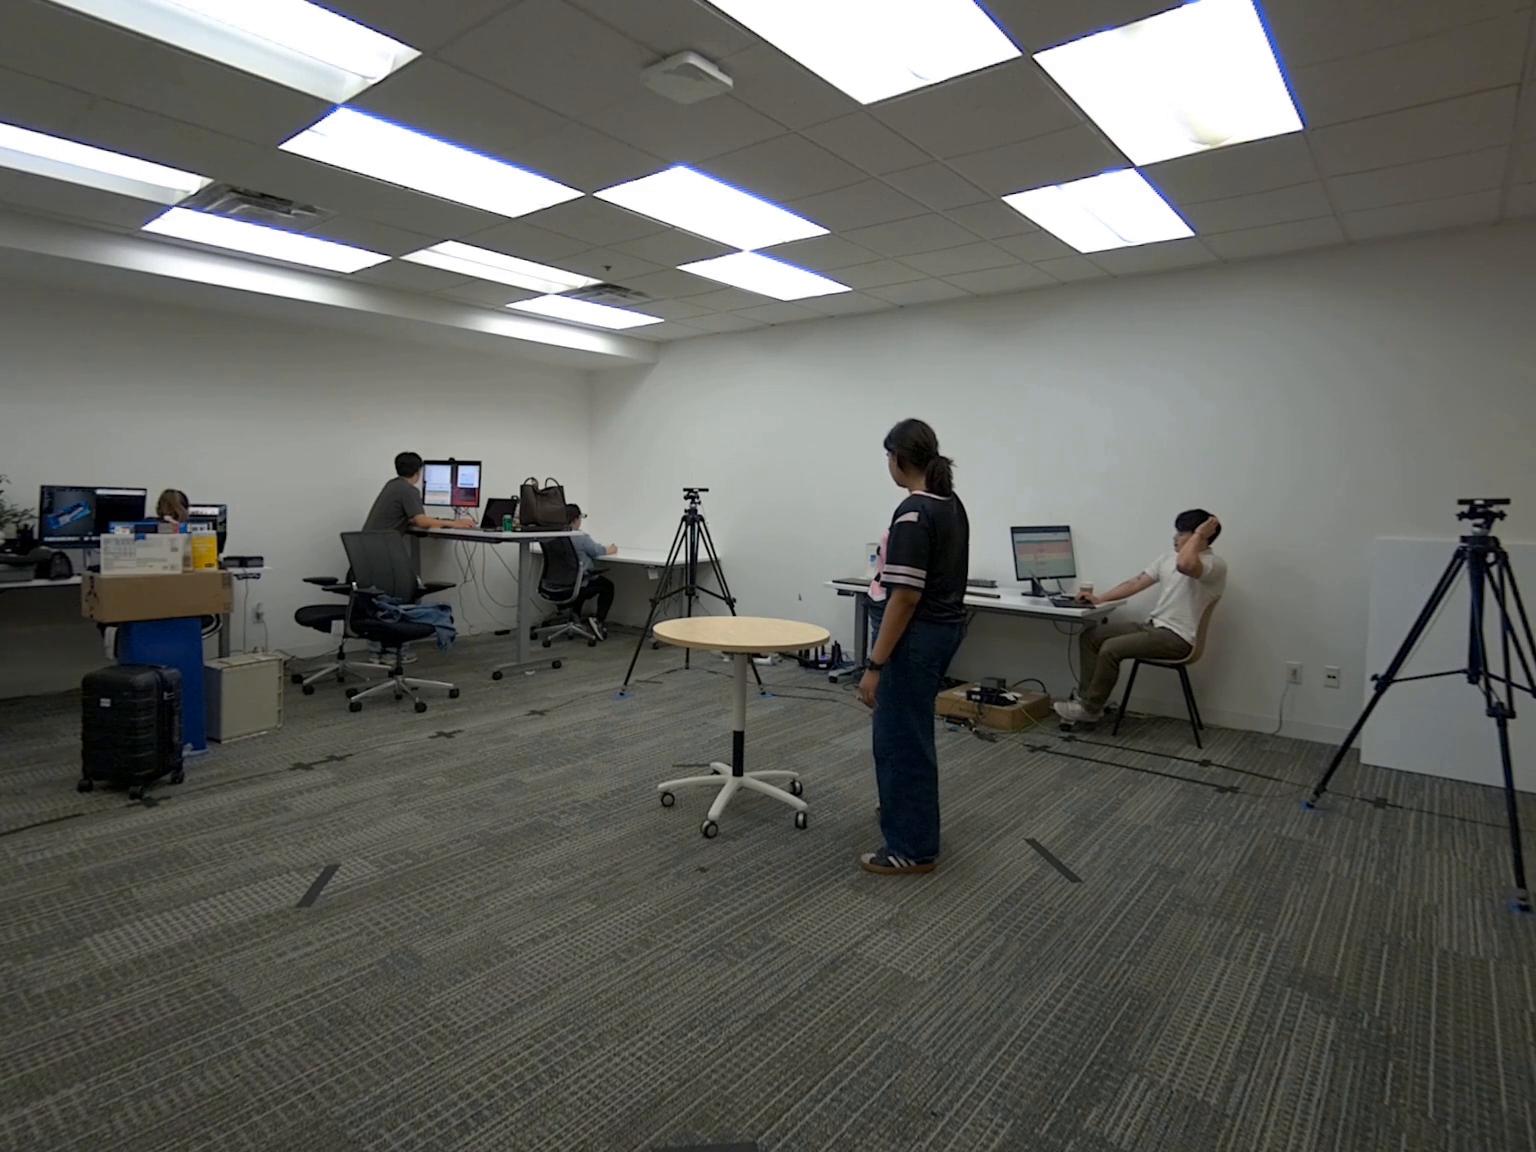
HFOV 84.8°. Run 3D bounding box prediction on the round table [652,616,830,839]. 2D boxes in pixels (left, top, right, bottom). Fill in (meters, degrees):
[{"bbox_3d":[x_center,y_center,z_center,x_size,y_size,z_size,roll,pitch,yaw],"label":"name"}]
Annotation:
[{"bbox_3d":[-0.141,0.624,3.716,0.763,0.791,0.768,1,4,-2],"label":"round table"}]
